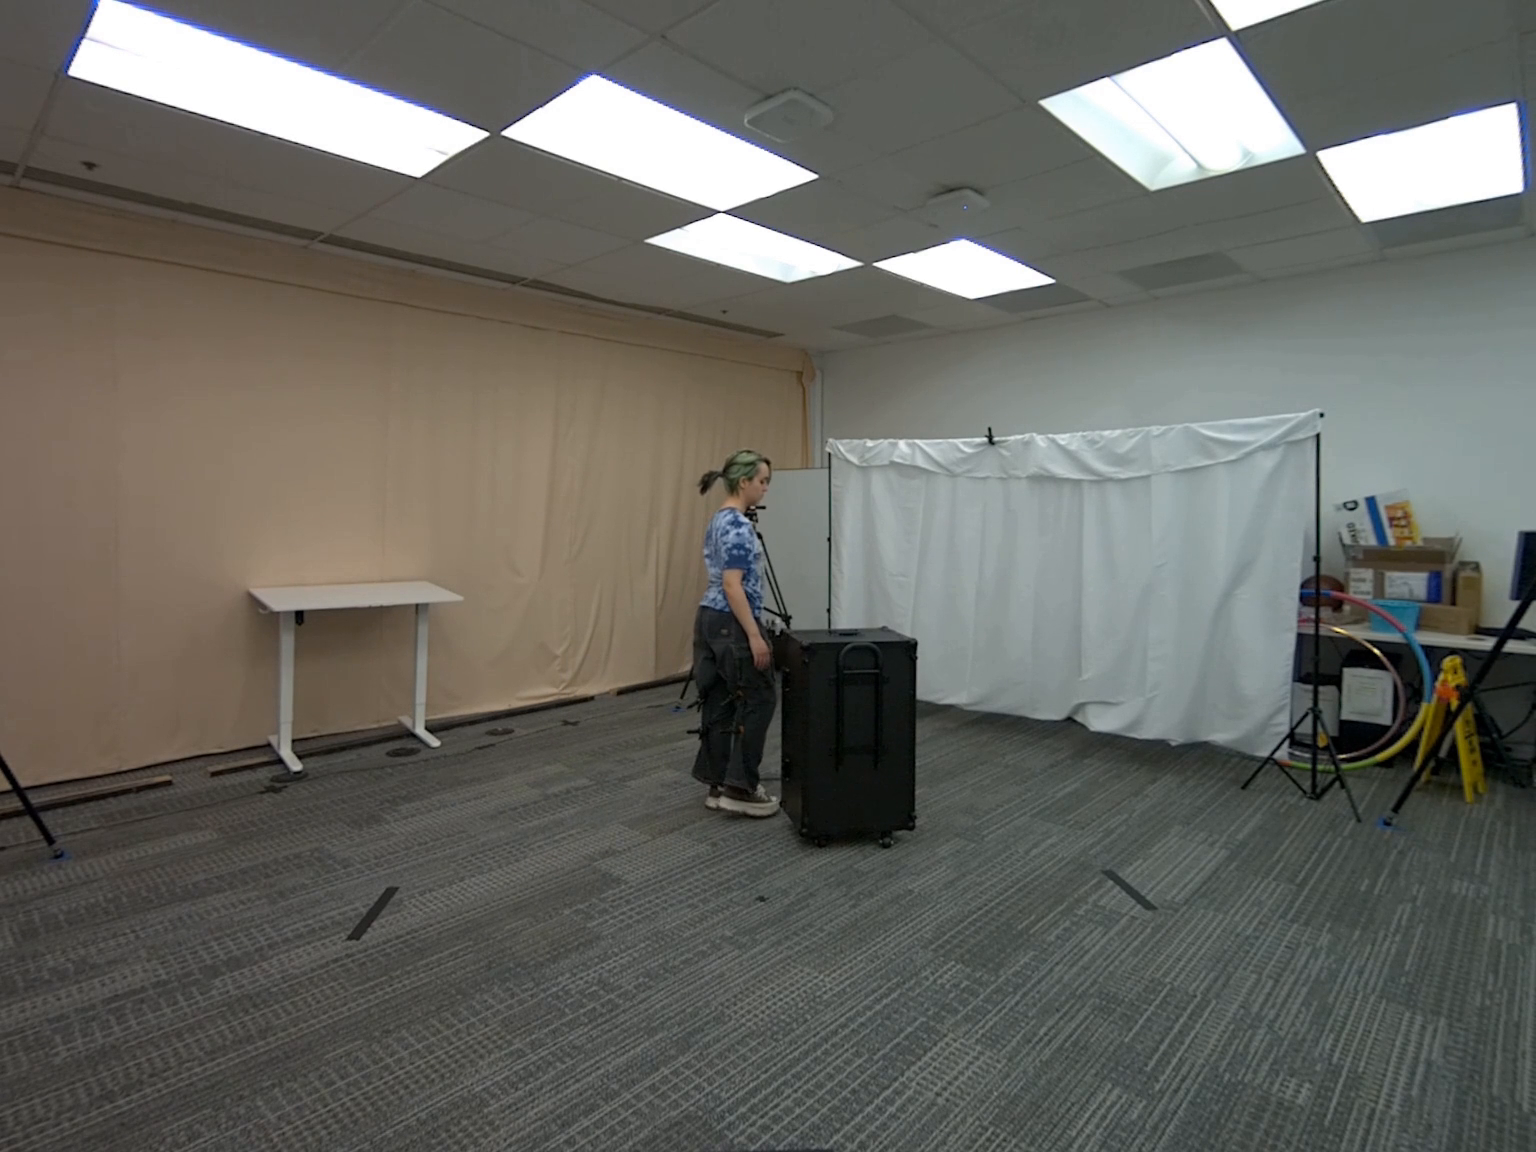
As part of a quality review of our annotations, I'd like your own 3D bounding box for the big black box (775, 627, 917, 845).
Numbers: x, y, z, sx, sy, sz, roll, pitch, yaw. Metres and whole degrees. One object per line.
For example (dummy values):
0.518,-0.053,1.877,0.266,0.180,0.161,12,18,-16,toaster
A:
0.338,0.672,3.542,0.516,0.859,0.401,0,4,-9,big black box
